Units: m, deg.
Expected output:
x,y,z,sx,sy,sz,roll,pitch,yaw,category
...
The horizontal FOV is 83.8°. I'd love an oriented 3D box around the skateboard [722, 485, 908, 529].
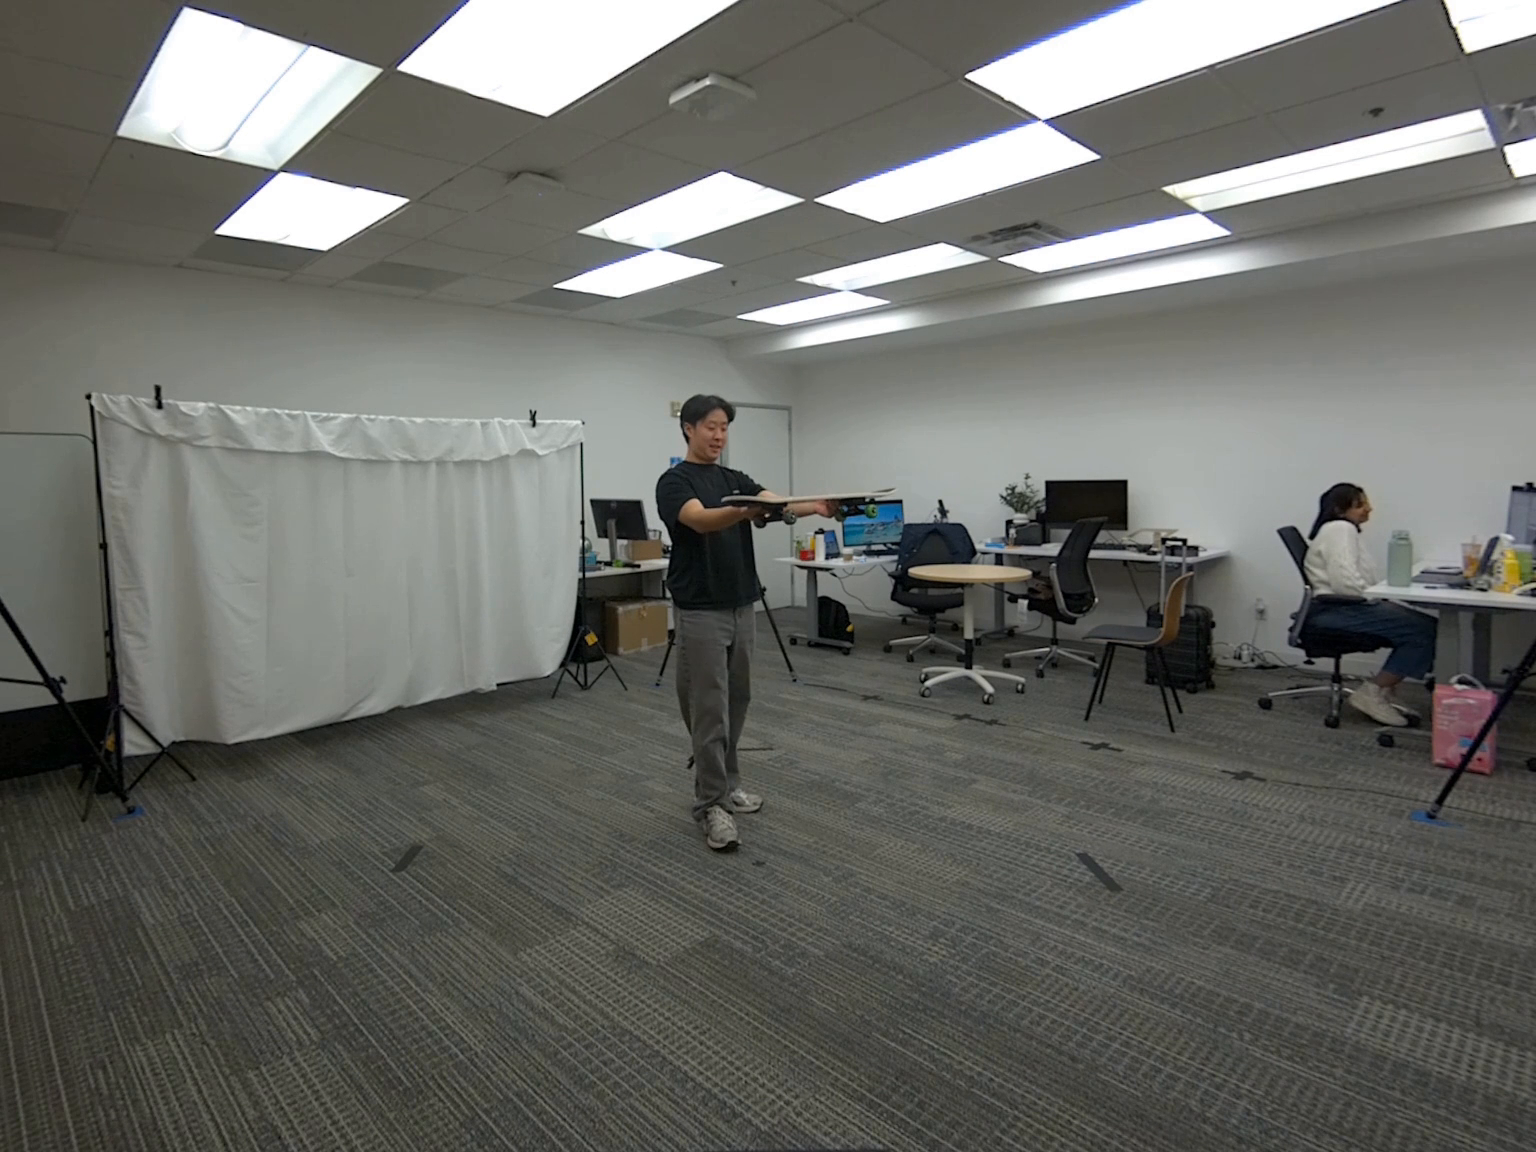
x,y,z,sx,sy,sz,roll,pitch,yaw,category
0.154,-0.244,3.037,0.766,0.110,0.198,-7,2,-39,skateboard
